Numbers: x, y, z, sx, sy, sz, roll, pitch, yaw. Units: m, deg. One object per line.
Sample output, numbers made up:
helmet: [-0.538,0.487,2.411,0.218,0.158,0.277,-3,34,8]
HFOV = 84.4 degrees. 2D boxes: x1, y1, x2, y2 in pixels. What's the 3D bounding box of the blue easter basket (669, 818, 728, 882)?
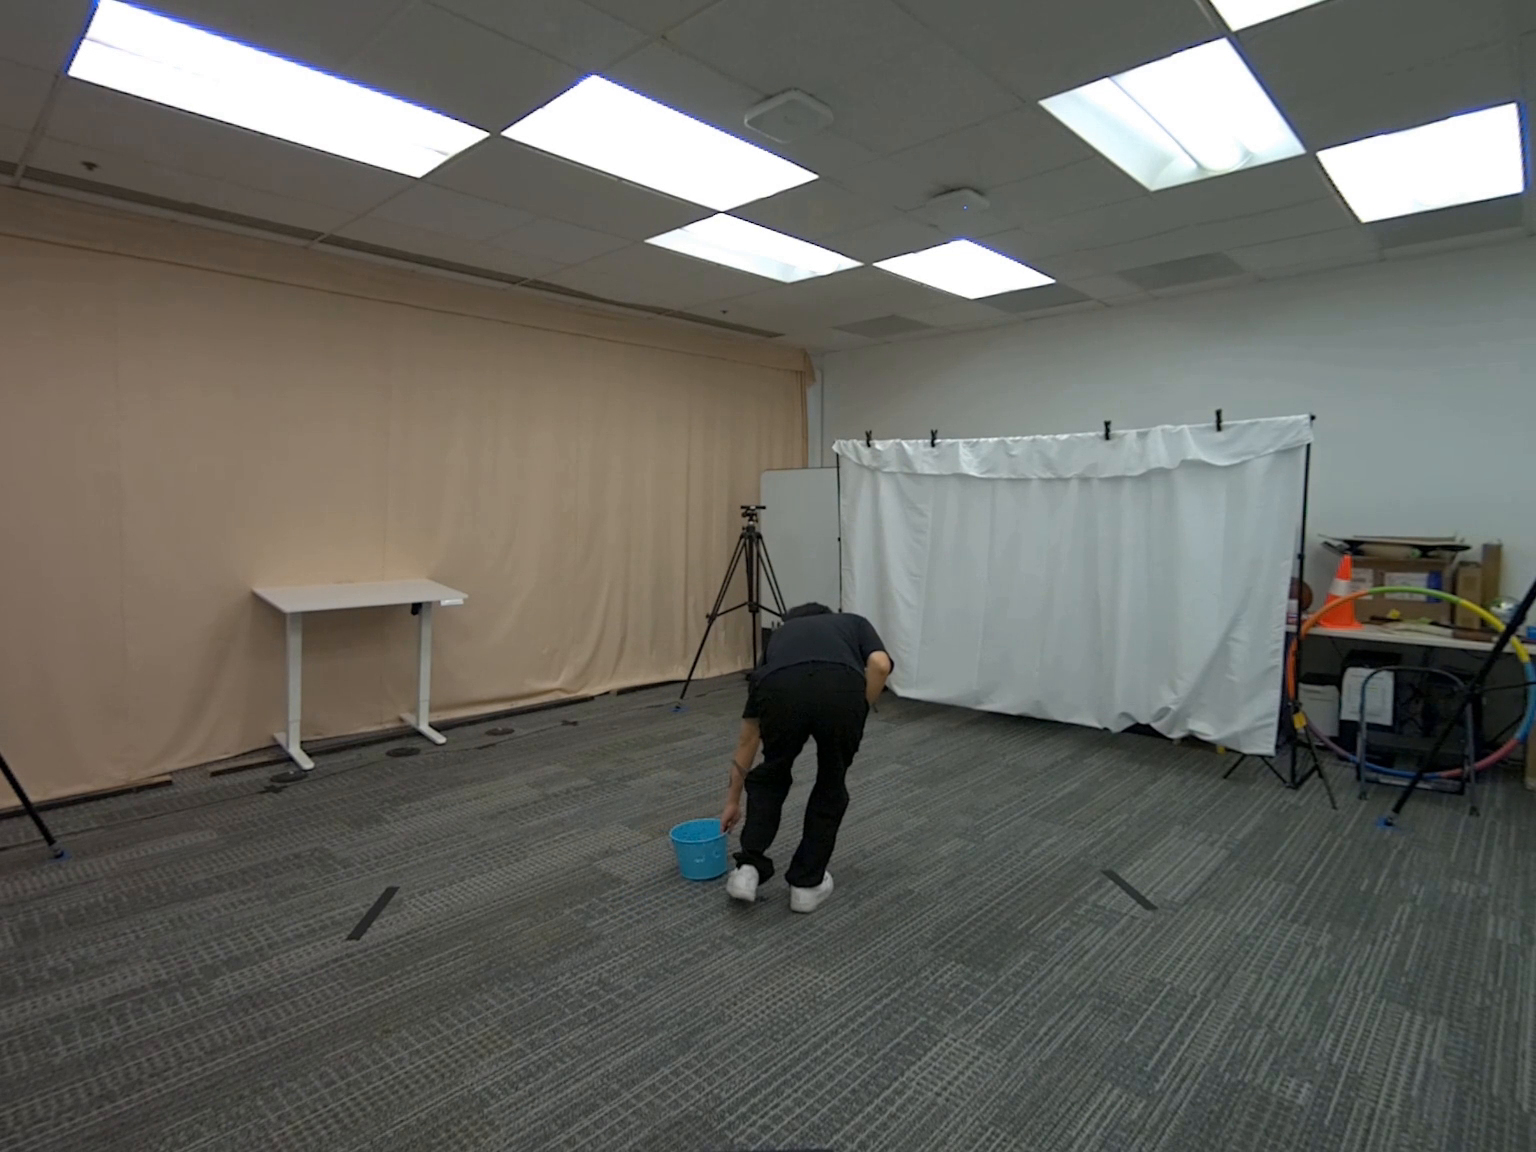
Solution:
blue easter basket: [-0.253,1.044,3.200,0.243,0.155,0.244,-5,3,-2]
